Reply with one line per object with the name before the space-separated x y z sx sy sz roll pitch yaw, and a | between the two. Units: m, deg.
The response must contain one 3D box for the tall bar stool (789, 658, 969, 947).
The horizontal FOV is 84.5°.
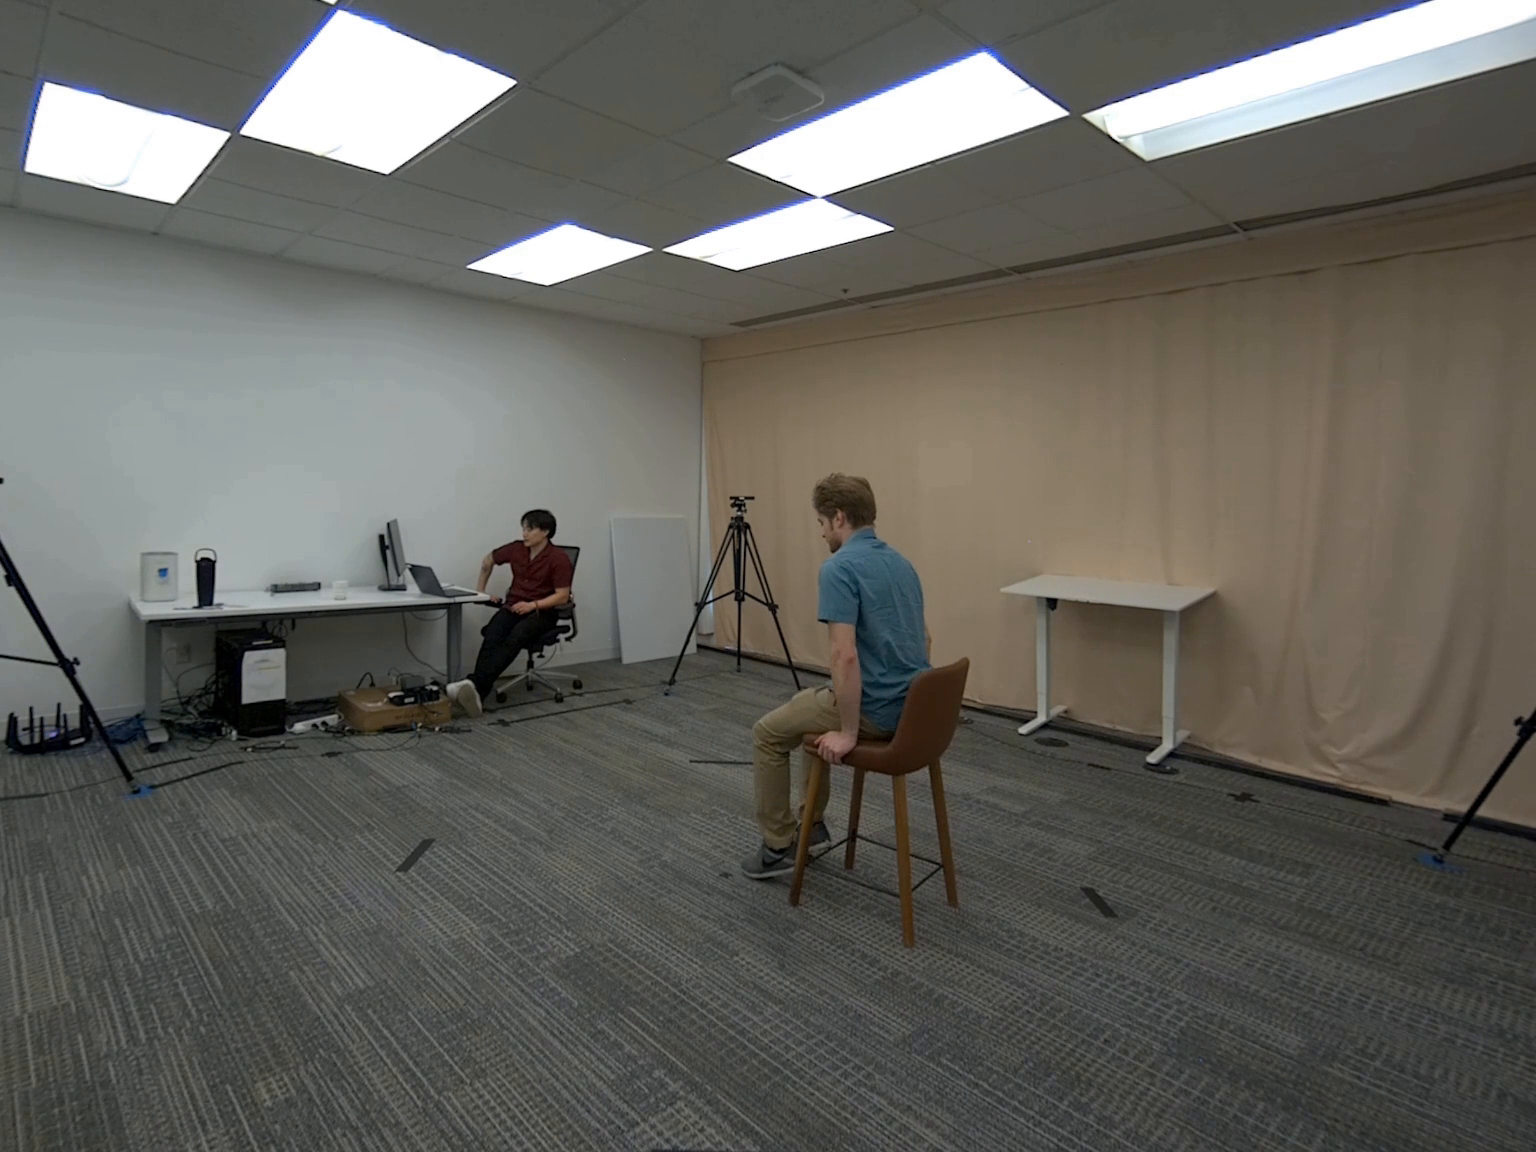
tall bar stool | 0.383 0.705 2.869 0.479 0.886 0.447 7 7 36
